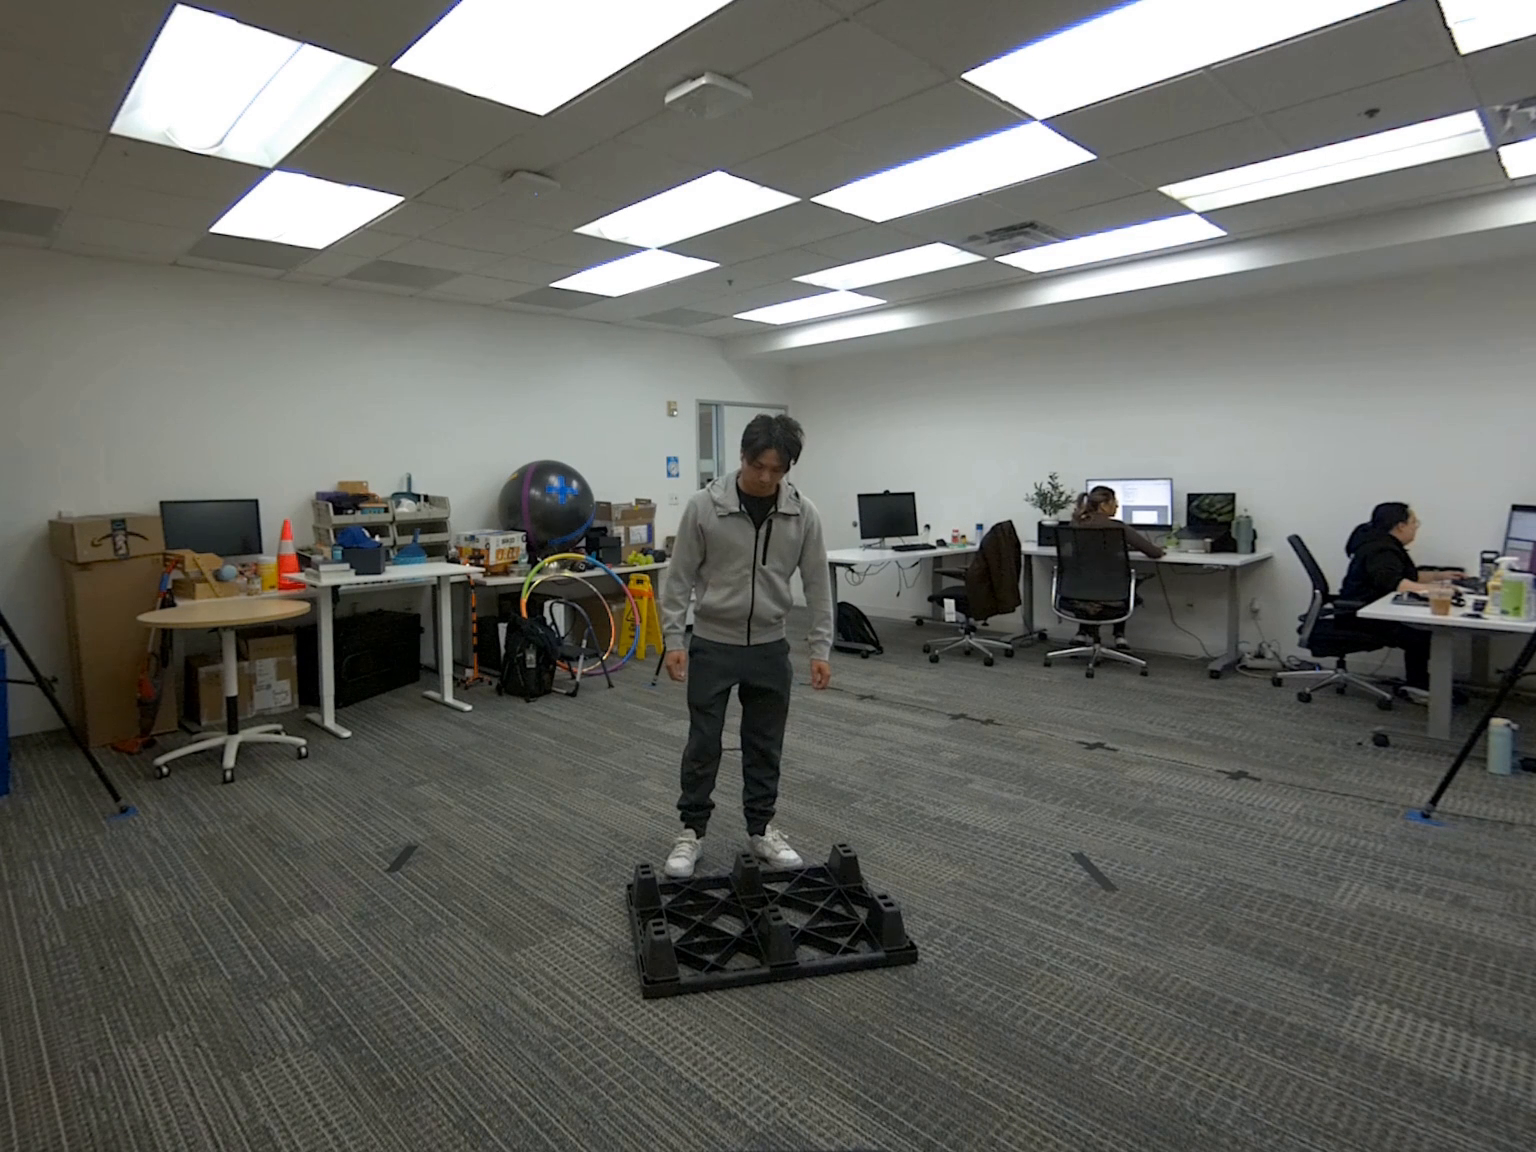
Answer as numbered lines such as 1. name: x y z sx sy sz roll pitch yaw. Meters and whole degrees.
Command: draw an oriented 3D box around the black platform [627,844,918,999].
1. black platform: -0.017 1.029 2.668 0.796 0.142 0.615 -2 7 -13
